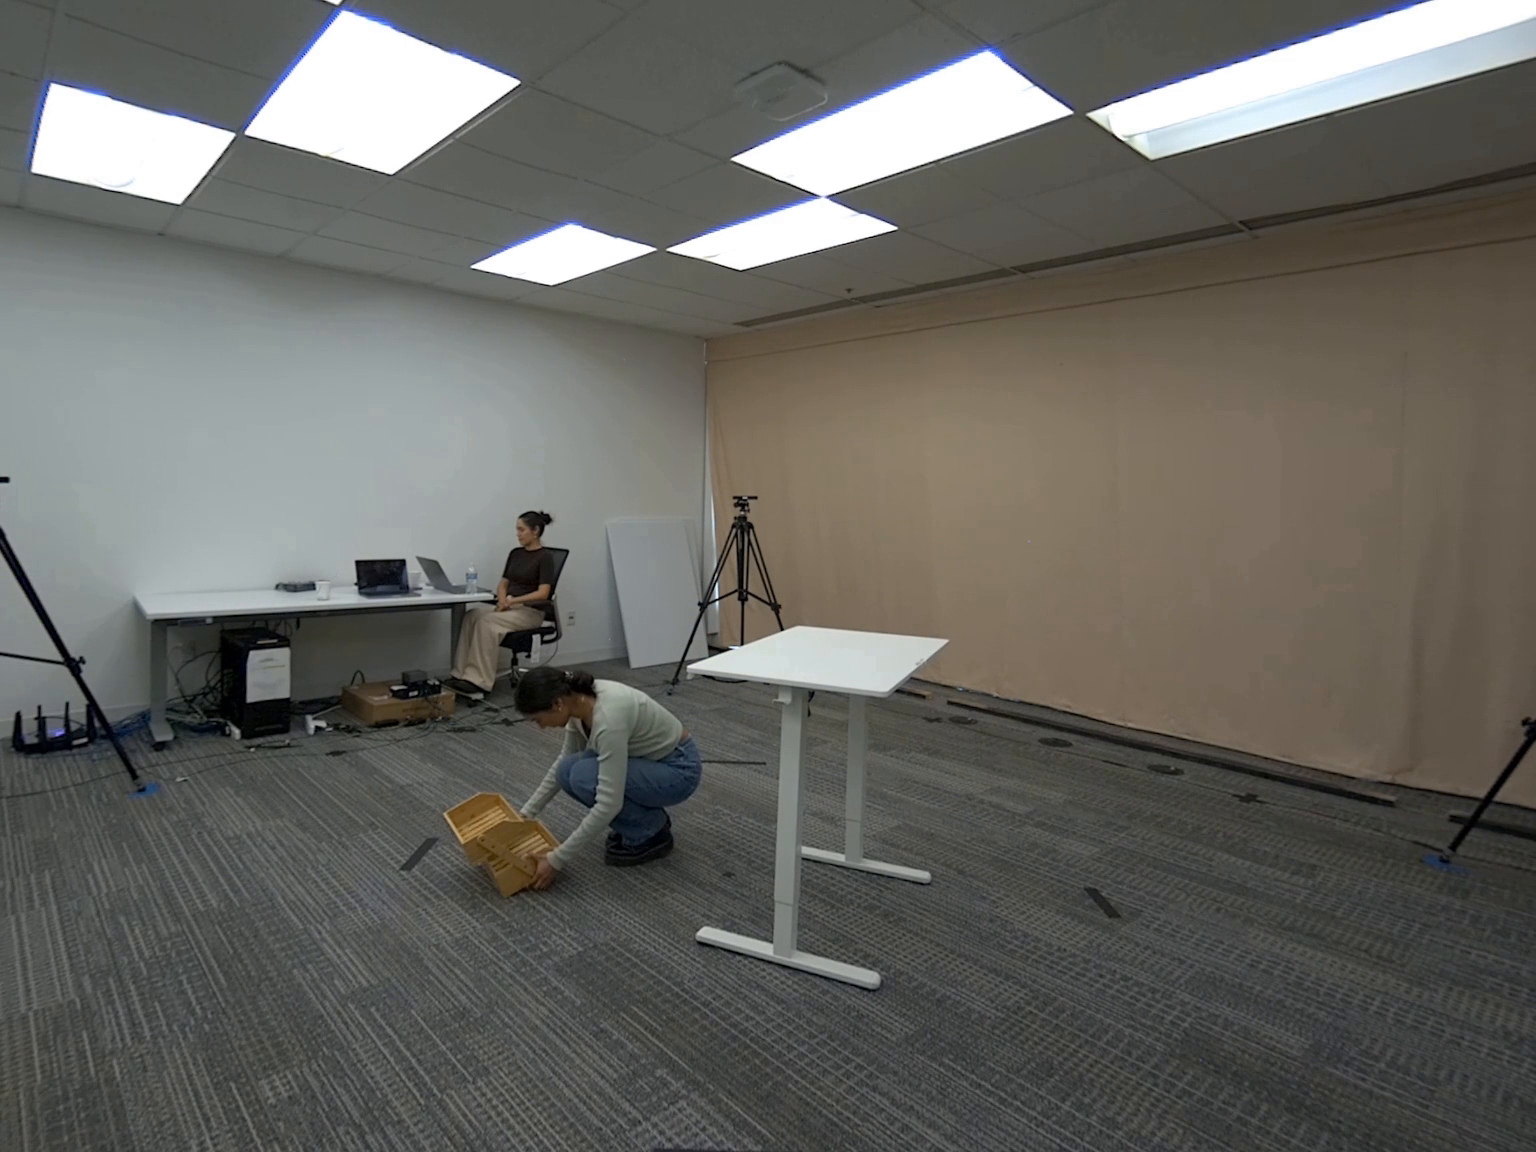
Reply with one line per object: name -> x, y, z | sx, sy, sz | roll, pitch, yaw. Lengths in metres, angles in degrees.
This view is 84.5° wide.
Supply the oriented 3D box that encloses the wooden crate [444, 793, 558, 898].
wooden crate -> -0.949, 0.931, 3.023 | 0.299, 0.269, 0.332 | -25, 17, -28
